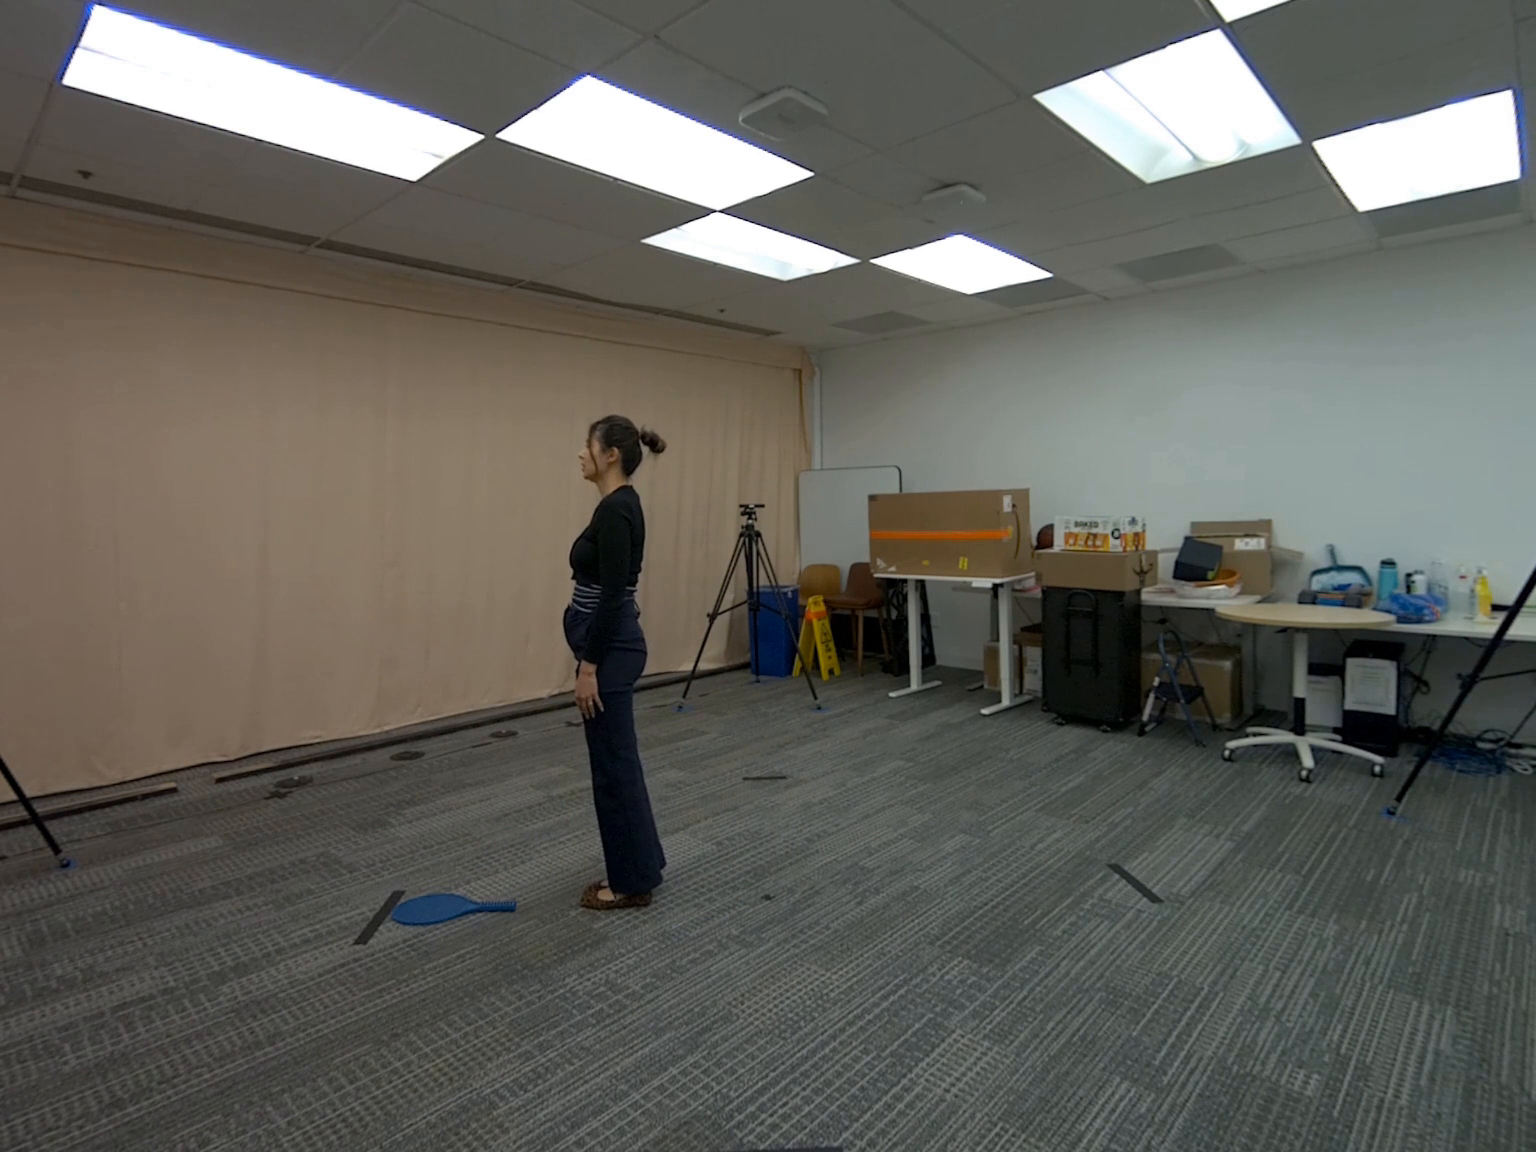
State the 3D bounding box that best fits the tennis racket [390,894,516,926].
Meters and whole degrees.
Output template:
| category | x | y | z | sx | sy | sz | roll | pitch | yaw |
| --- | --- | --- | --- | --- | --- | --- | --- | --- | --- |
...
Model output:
| category | x | y | z | sx | sy | sz | roll | pitch | yaw |
| --- | --- | --- | --- | --- | --- | --- | --- | --- | --- |
| tennis racket | -1.099 | 1.168 | 2.939 | 0.433 | 0.032 | 0.214 | -3 | 4 | 0 |
